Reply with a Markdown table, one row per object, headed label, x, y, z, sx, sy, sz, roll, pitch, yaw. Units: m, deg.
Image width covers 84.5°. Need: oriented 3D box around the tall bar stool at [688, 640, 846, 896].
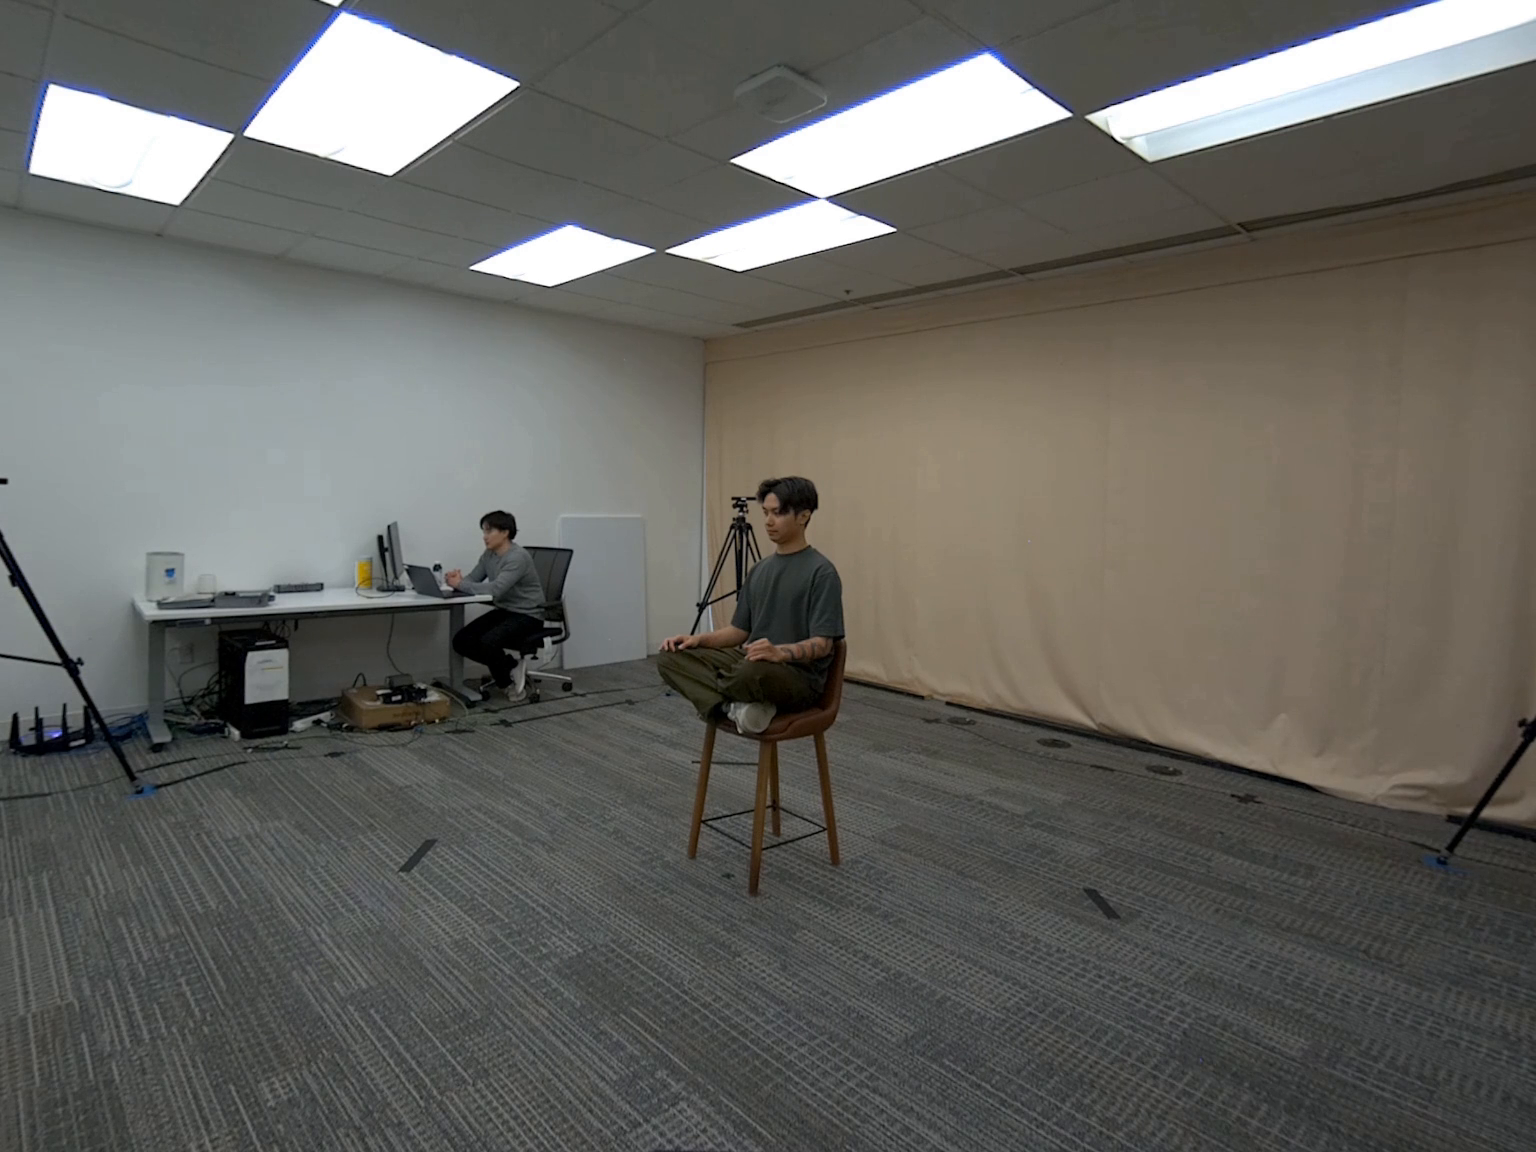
| label | x | y | z | sx | sy | sz | roll | pitch | yaw |
| --- | --- | --- | --- | --- | --- | --- | --- | --- | --- |
| tall bar stool | 0.003 | 0.665 | 3.221 | 0.456 | 0.889 | 0.468 | 2 | 1 | -39 |
